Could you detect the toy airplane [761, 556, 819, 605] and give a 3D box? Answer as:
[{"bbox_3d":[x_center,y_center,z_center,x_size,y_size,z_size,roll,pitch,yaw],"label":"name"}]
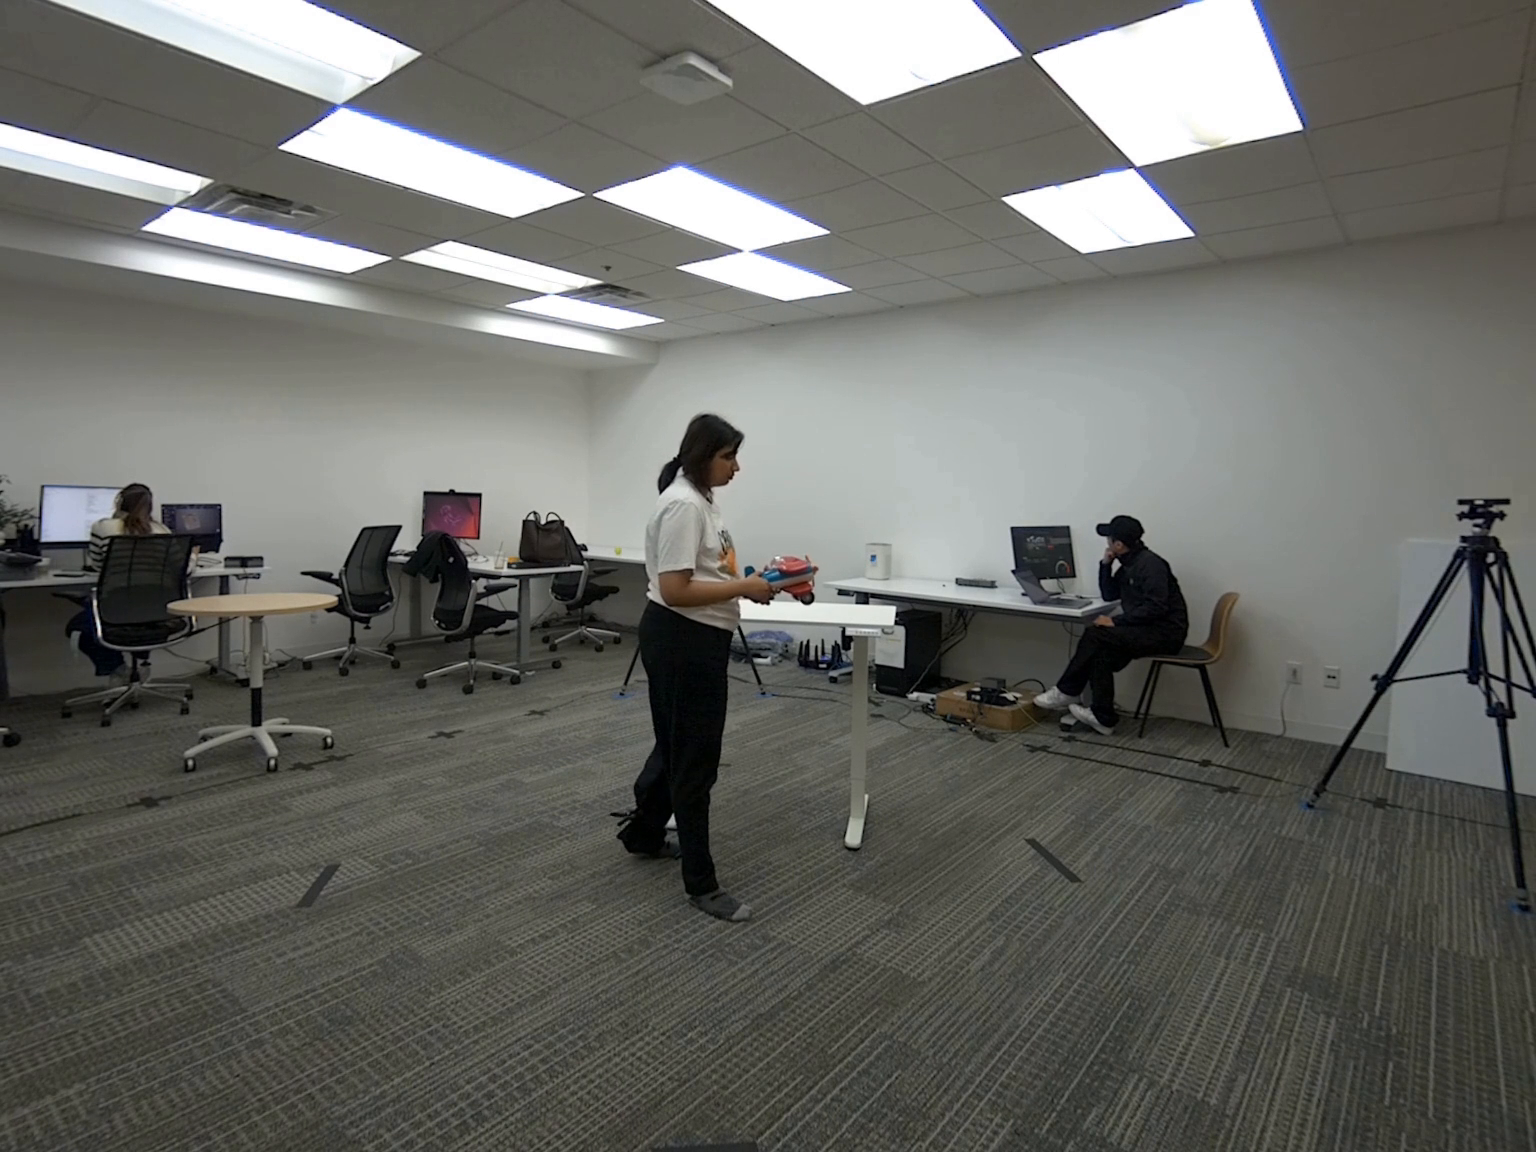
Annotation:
[{"bbox_3d":[0.040,0.017,2.970,0.251,0.155,0.260,-2,10,-41],"label":"toy airplane"}]
